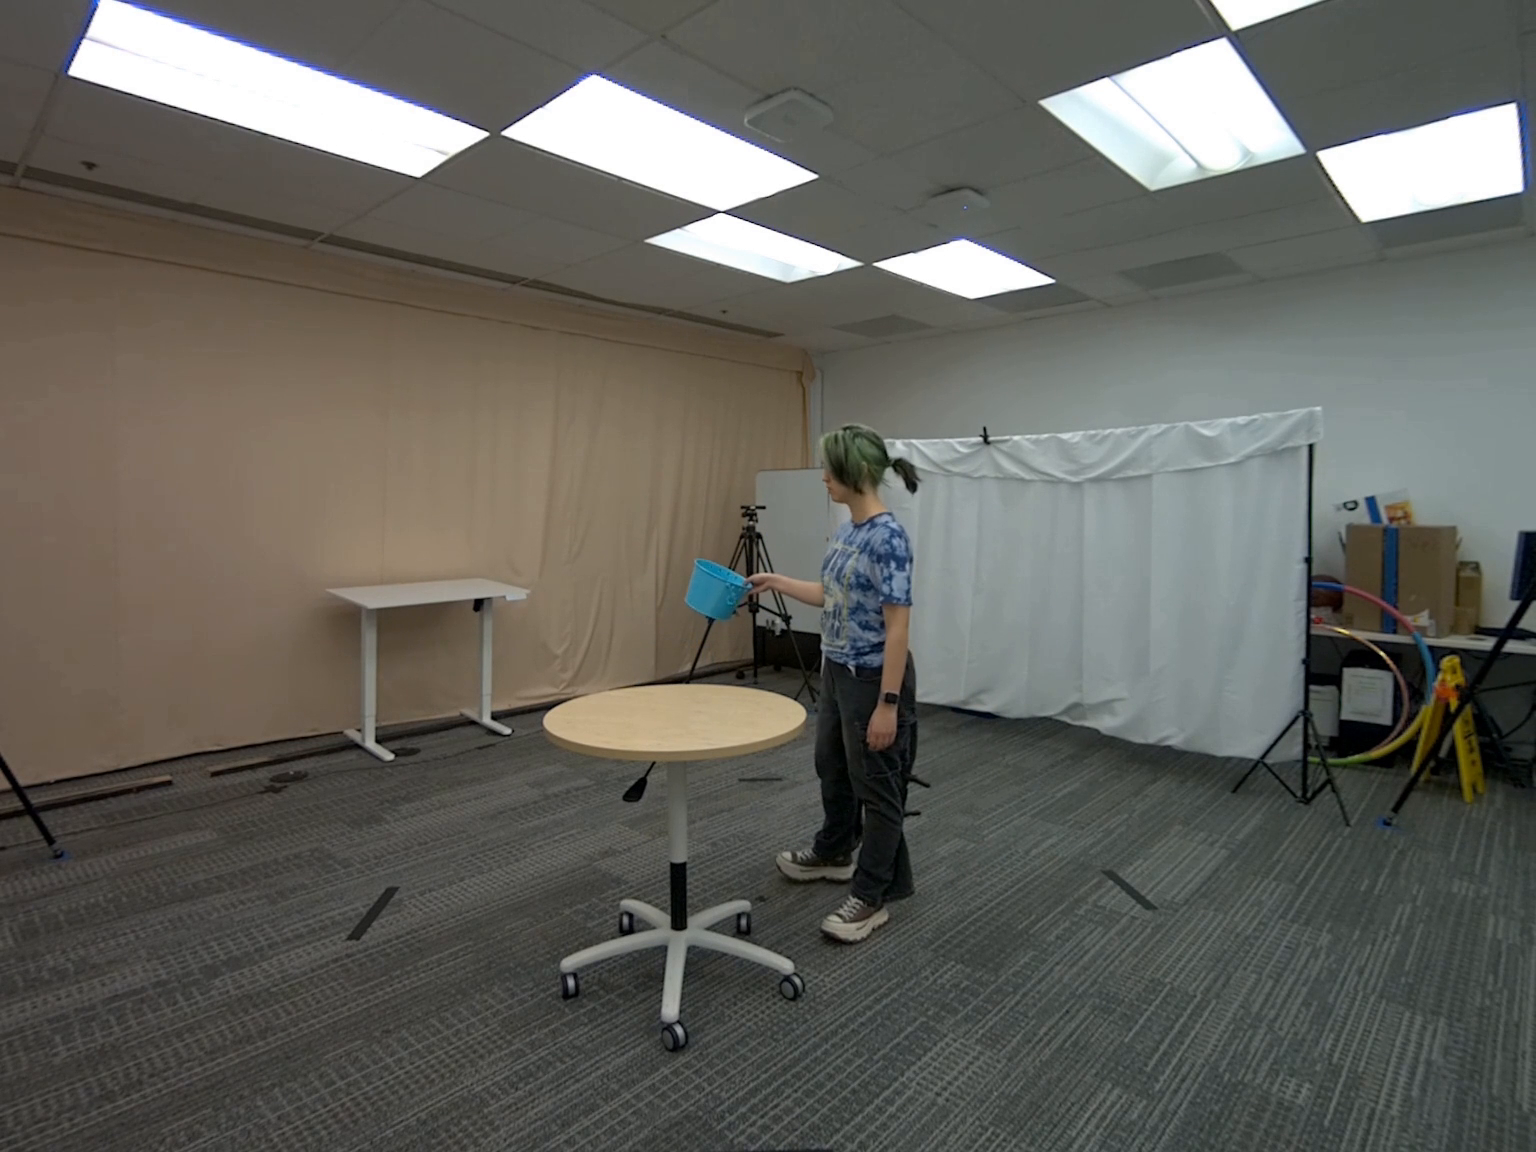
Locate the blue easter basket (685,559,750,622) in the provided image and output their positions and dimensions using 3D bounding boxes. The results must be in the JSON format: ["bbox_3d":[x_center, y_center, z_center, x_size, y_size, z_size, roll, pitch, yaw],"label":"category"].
[{"bbox_3d":[-0.187,0.062,3.119,0.242,0.155,0.245,22,9,-6],"label":"blue easter basket"}]
